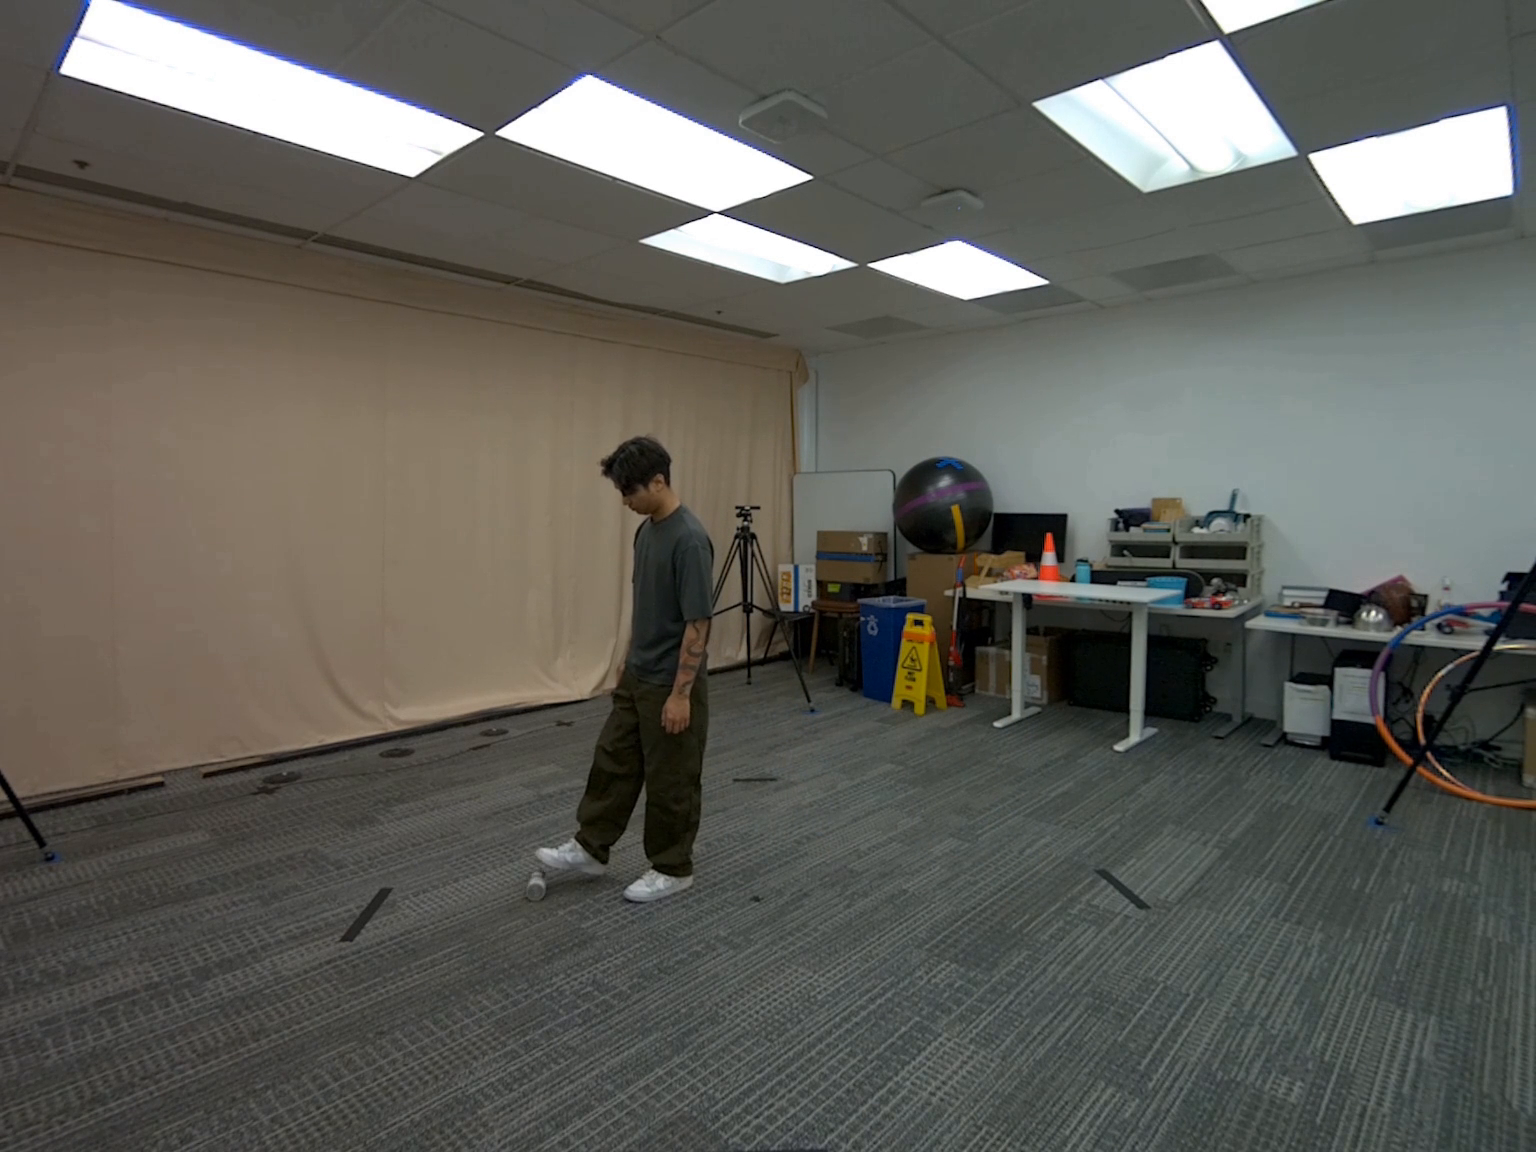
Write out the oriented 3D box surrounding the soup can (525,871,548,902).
[{"bbox_3d":[-0.833,1.112,3.036,0.066,0.067,0.122,-1,-2,-10],"label":"soup can"}]
